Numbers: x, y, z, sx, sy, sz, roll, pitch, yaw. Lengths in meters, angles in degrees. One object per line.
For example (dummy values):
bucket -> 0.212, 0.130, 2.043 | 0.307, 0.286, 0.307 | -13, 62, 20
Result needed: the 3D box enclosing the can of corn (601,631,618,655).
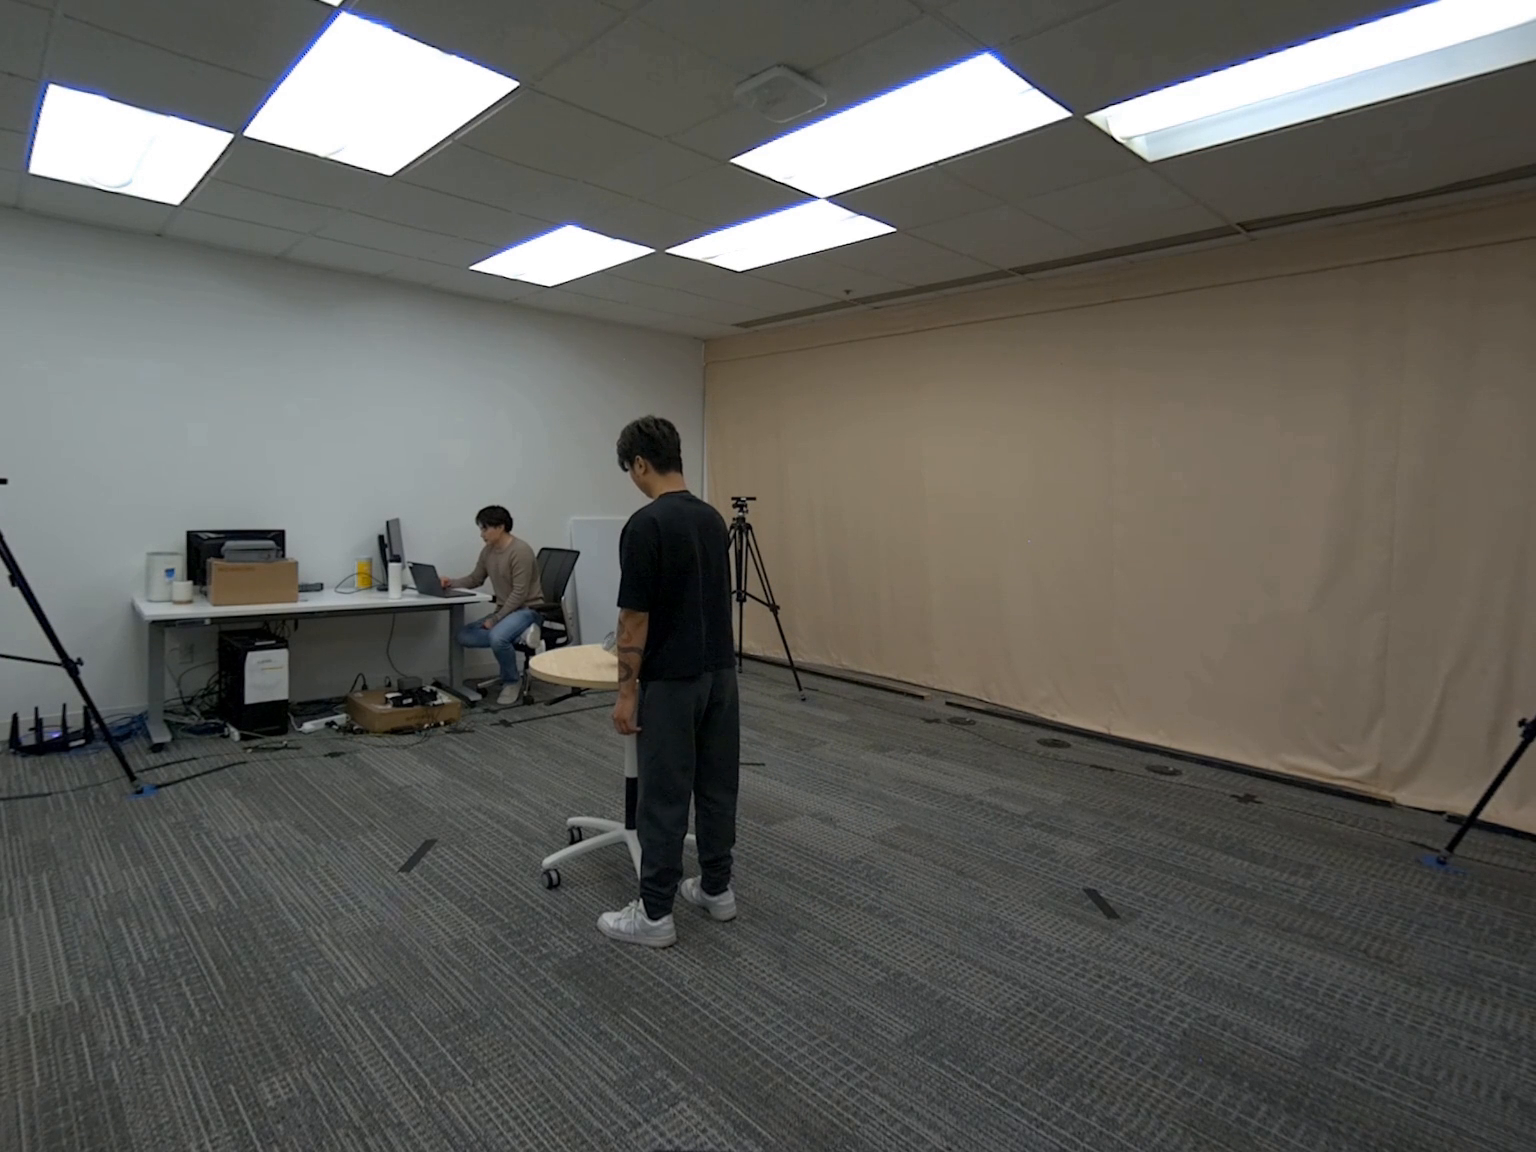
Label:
can of corn -> -0.538, 0.258, 3.040 | 0.108, 0.074, 0.076 | 31, -12, -30
